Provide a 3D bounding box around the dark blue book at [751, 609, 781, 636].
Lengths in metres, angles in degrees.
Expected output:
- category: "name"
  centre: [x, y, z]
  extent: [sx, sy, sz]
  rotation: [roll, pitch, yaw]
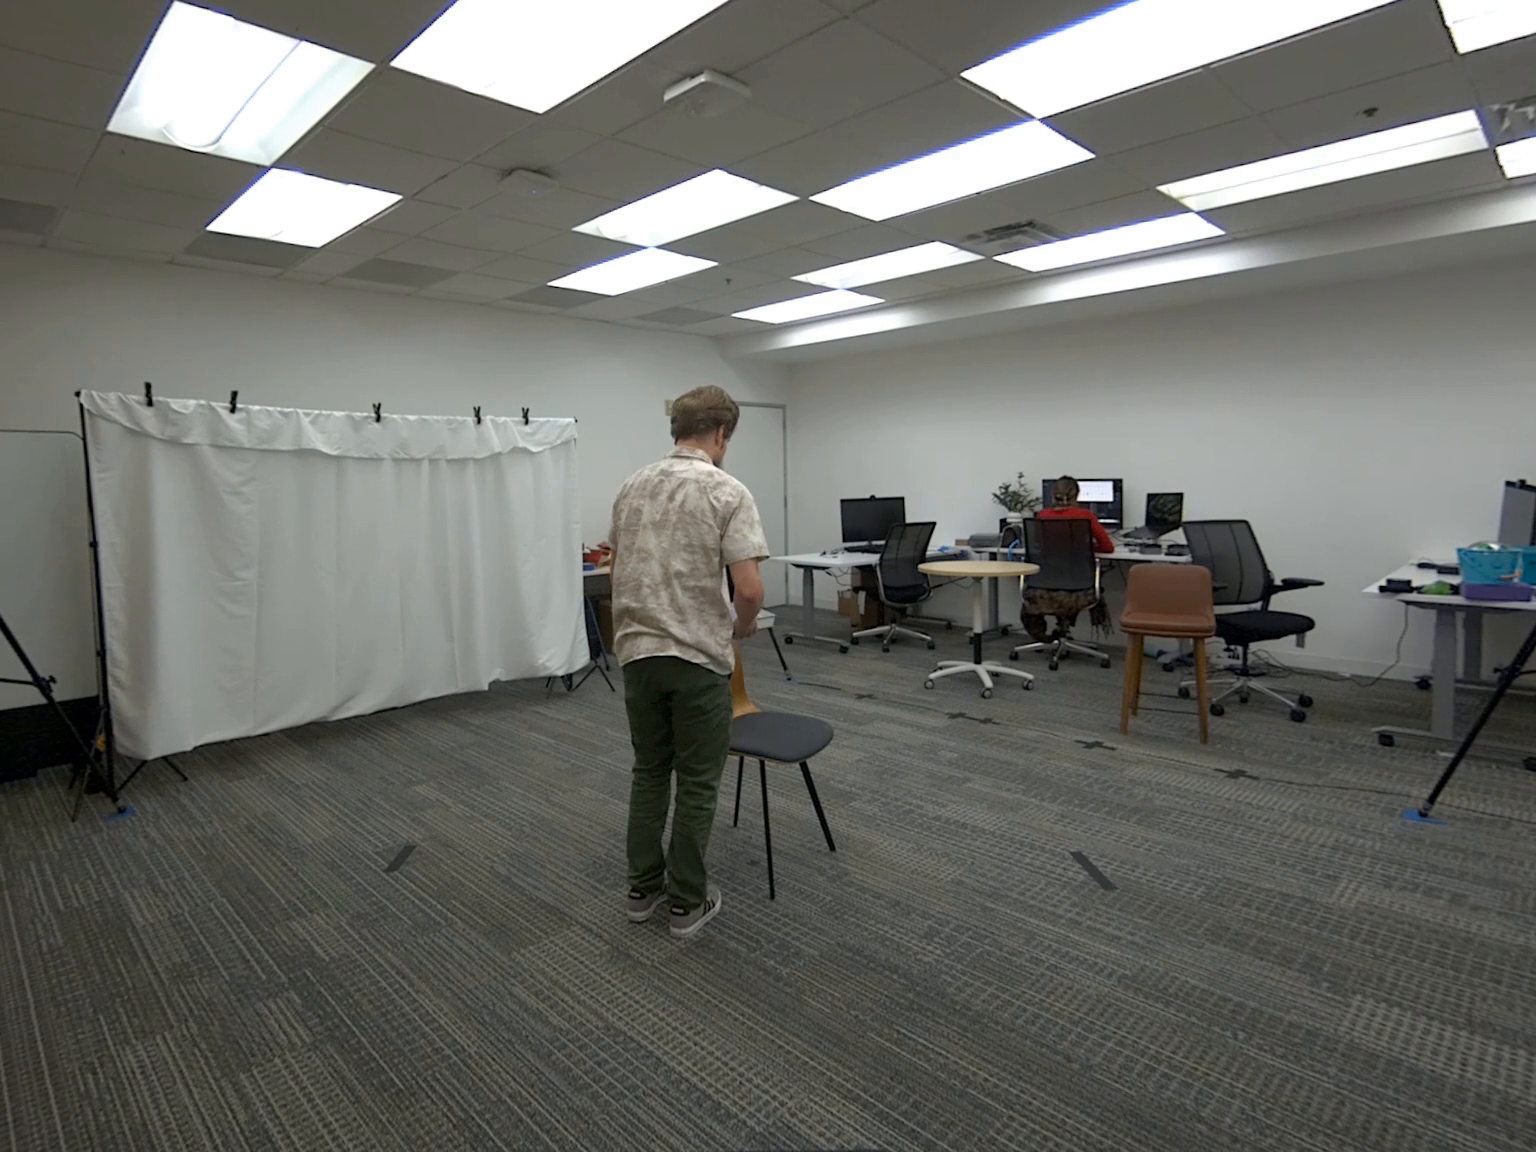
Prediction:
- category: "dark blue book"
  centre: [-0.101, 0.144, 2.860]
  extent: [0.169, 0.045, 0.239]
  rotation: [20, 17, 36]
